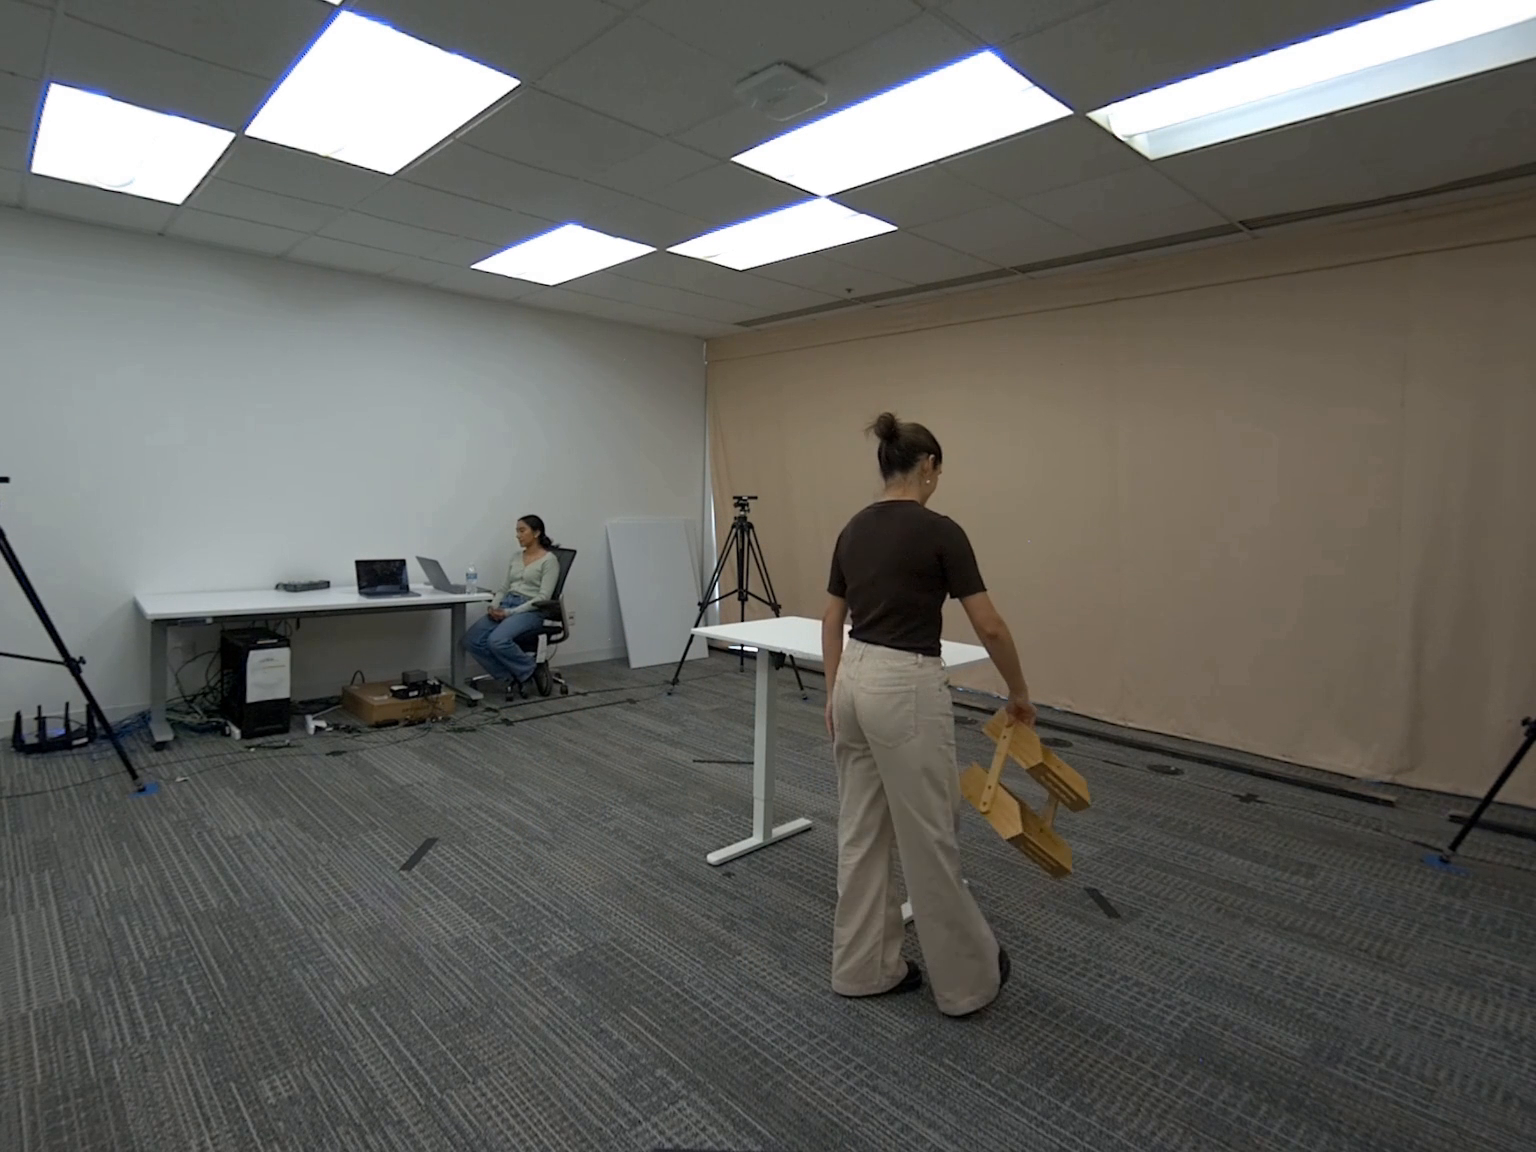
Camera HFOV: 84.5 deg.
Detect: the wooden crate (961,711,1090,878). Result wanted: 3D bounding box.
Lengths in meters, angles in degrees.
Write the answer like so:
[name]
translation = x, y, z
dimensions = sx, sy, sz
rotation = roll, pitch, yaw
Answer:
[wooden crate]
translation = 0.729, 0.608, 2.332
dimensions = 0.315, 0.273, 0.311
rotation = 41, 2, -34
